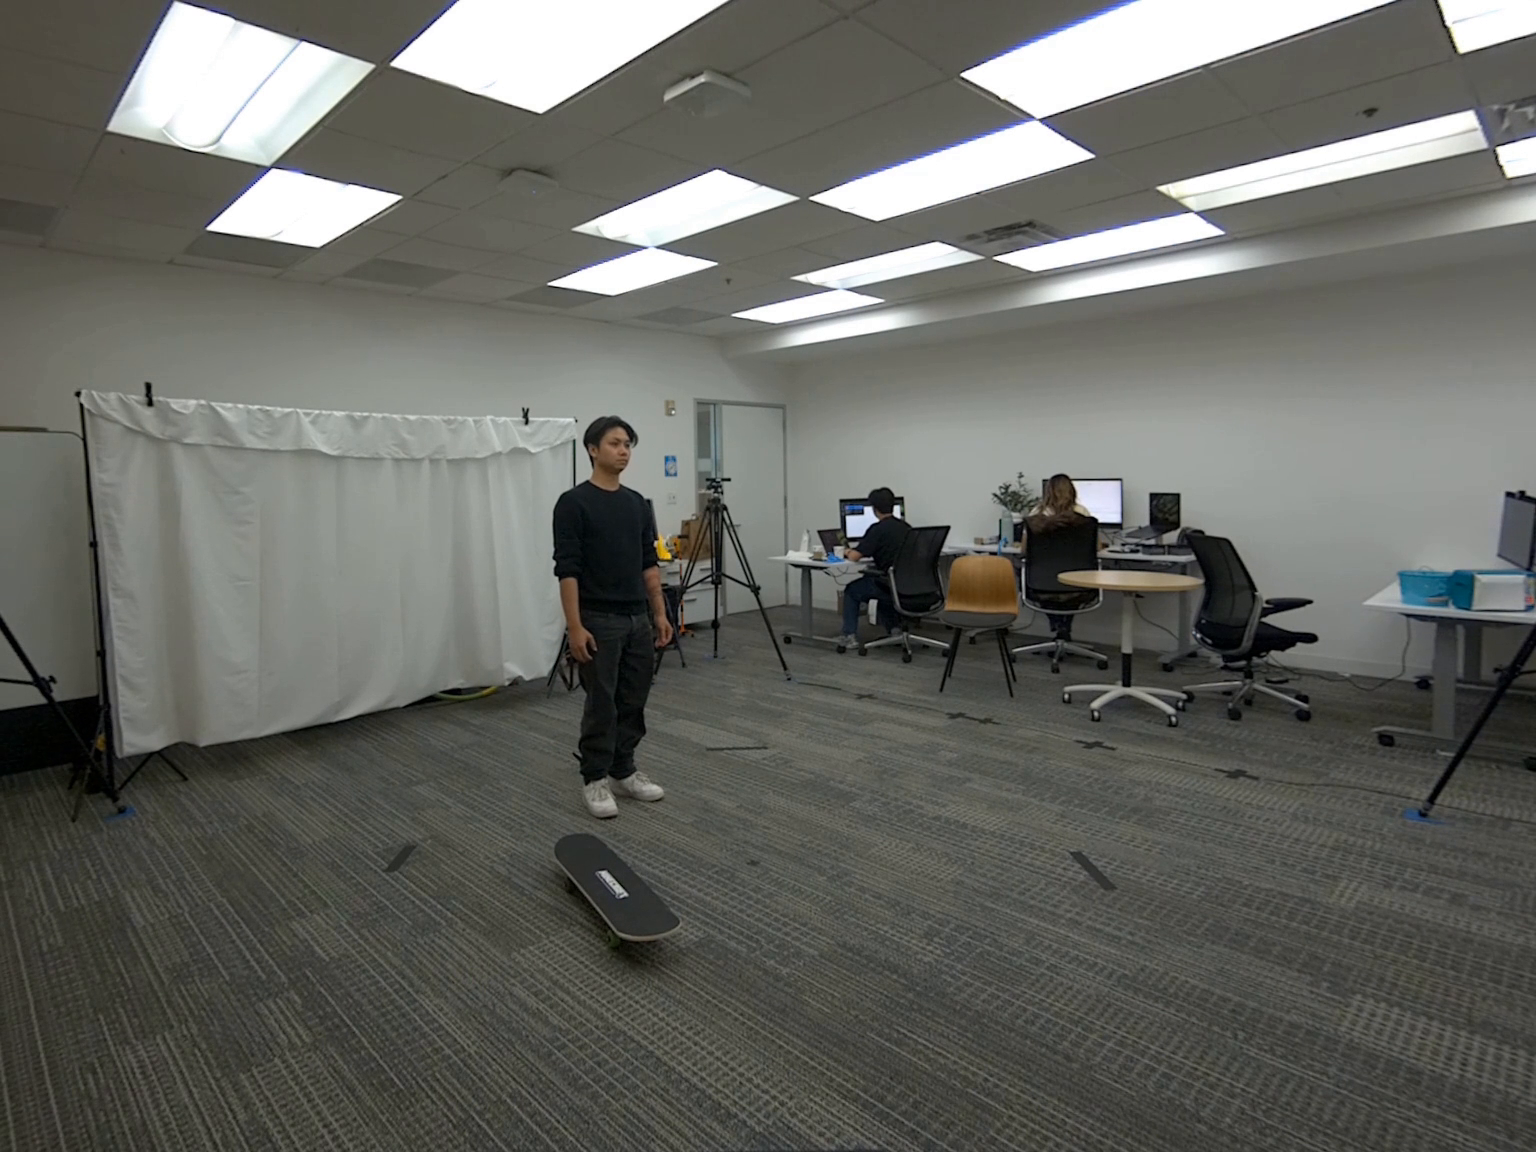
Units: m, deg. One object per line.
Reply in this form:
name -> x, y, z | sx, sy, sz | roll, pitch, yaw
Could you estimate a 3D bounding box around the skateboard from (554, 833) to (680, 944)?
skateboard -> -0.507, 1.036, 2.773 | 0.189, 0.110, 0.808 | -6, 8, -31
